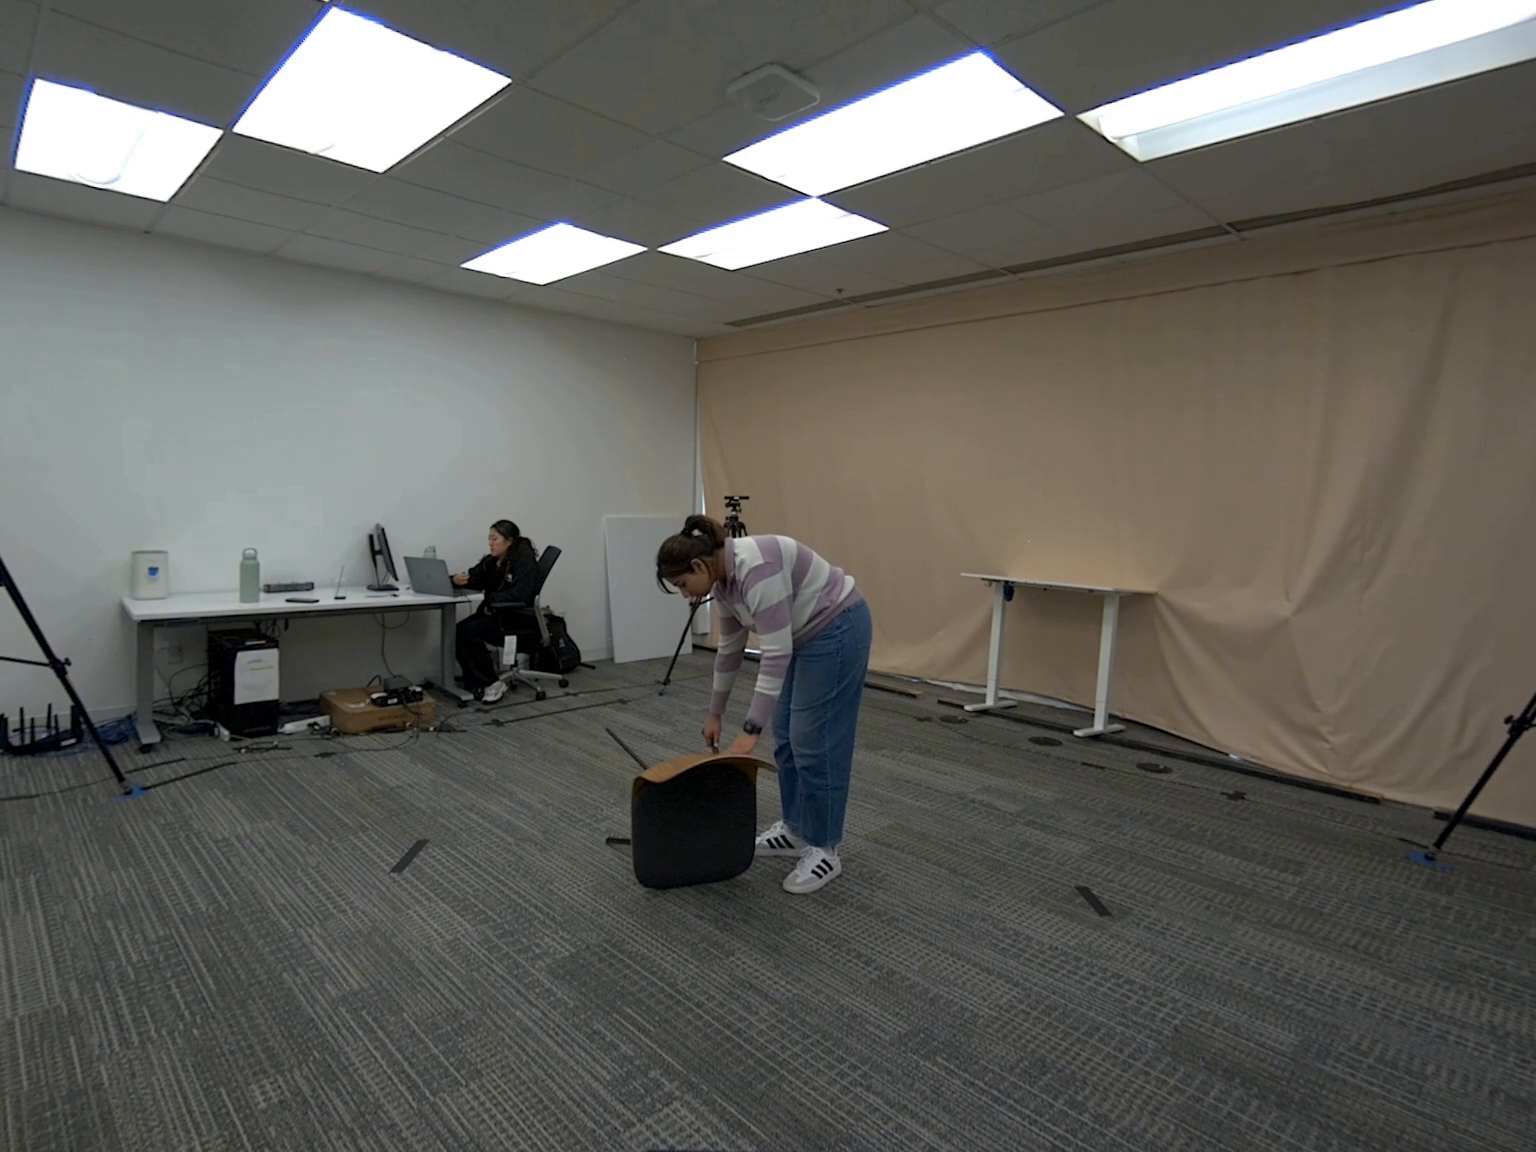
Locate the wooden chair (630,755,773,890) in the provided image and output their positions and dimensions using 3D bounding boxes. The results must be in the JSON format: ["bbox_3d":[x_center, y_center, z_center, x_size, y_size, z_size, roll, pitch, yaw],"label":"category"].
[{"bbox_3d":[-0.285,0.848,3.036,0.470,0.525,0.889,0,-3,-23],"label":"wooden chair"}]
